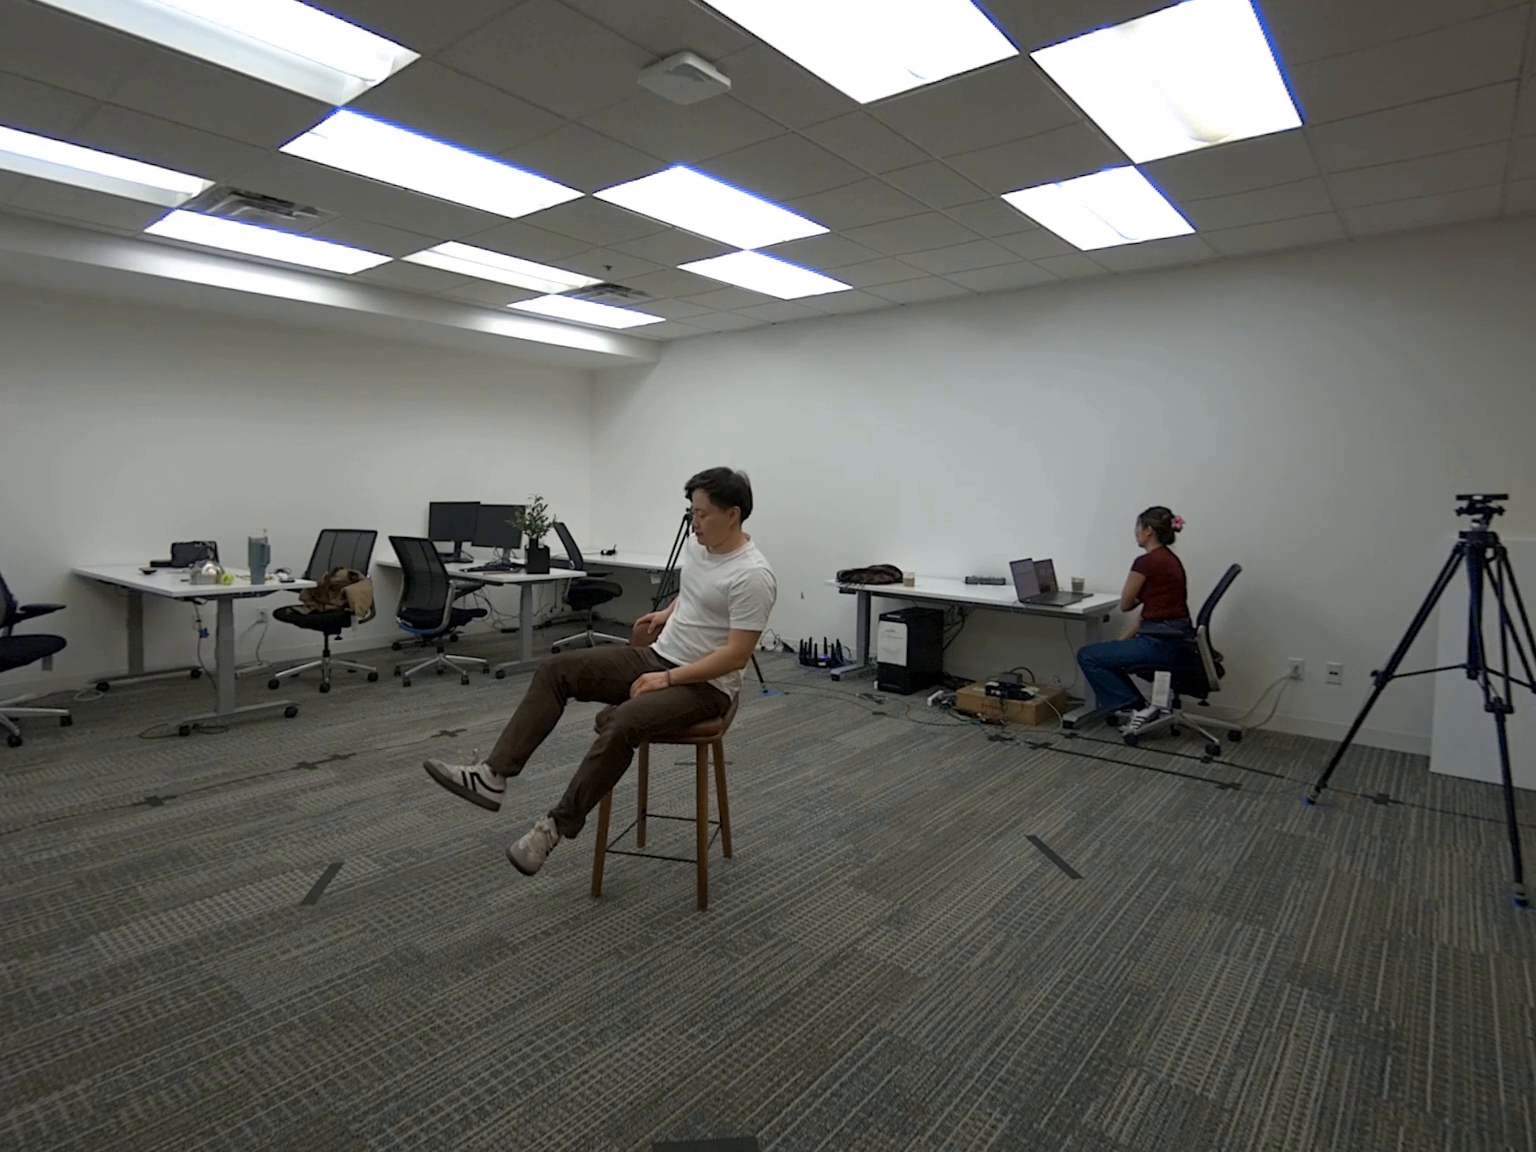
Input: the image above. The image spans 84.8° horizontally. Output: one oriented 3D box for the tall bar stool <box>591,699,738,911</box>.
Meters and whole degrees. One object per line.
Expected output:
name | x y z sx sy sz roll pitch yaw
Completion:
tall bar stool | -0.360 0.634 3.042 0.464 0.889 0.461 2 1 14
